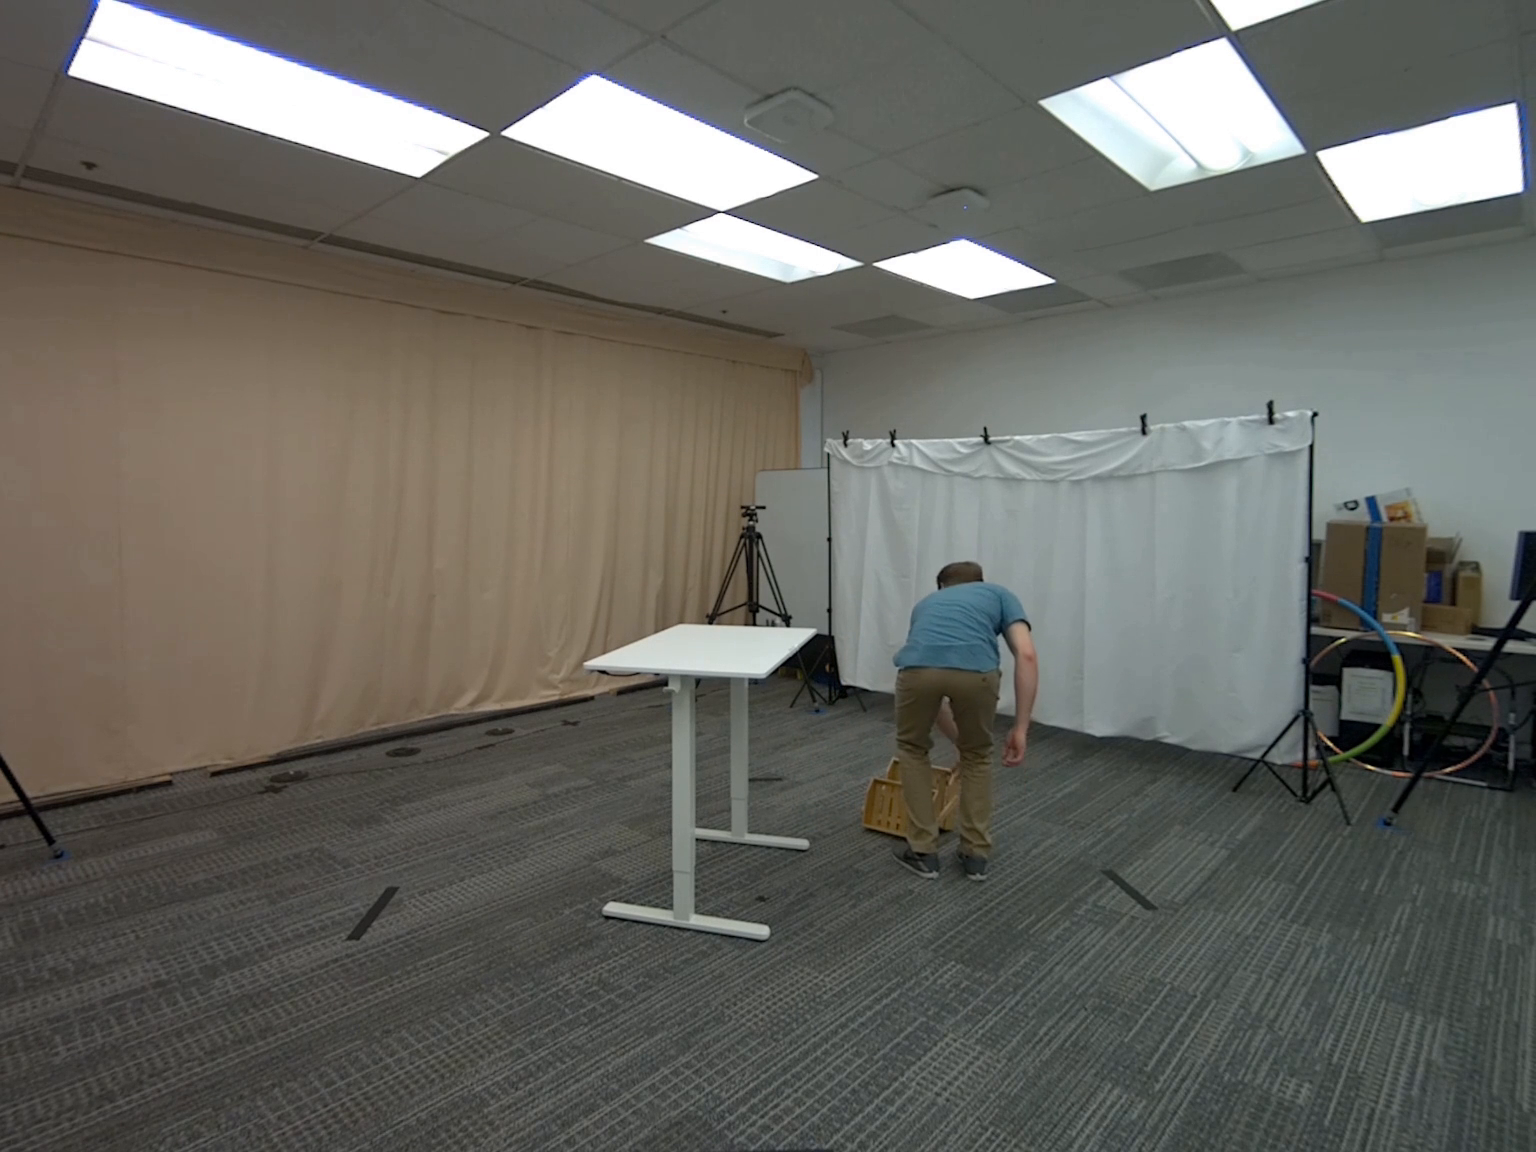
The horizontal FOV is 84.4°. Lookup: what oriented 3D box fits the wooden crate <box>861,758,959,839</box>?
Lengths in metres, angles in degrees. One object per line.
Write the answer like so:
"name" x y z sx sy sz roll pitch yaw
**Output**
"wooden crate" 0.620 0.954 3.625 0.335 0.303 0.263 3 -12 35
